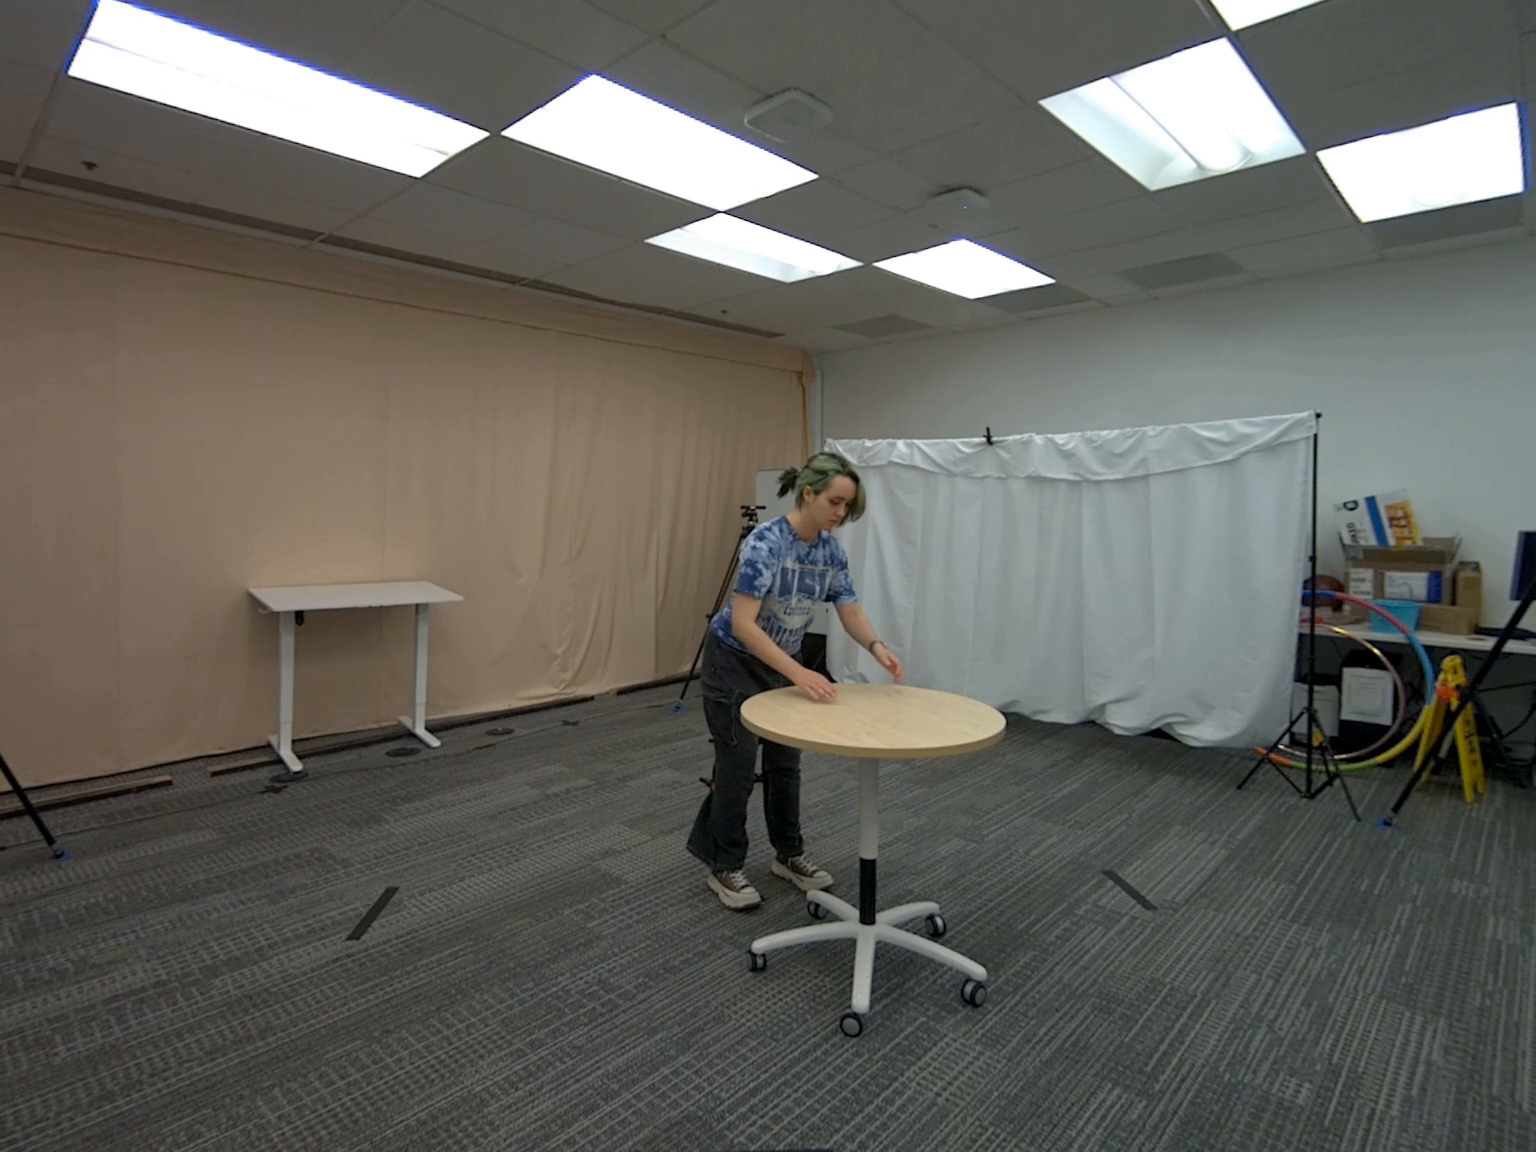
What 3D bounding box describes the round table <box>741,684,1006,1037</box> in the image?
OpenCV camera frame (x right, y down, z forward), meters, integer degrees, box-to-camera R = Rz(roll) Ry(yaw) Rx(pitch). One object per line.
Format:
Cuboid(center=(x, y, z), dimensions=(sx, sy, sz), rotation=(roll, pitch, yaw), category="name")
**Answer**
Cuboid(center=(0.315, 0.794, 2.519), dimensions=(0.763, 0.792, 0.767), rotation=(0, 4, -2), category="round table")
